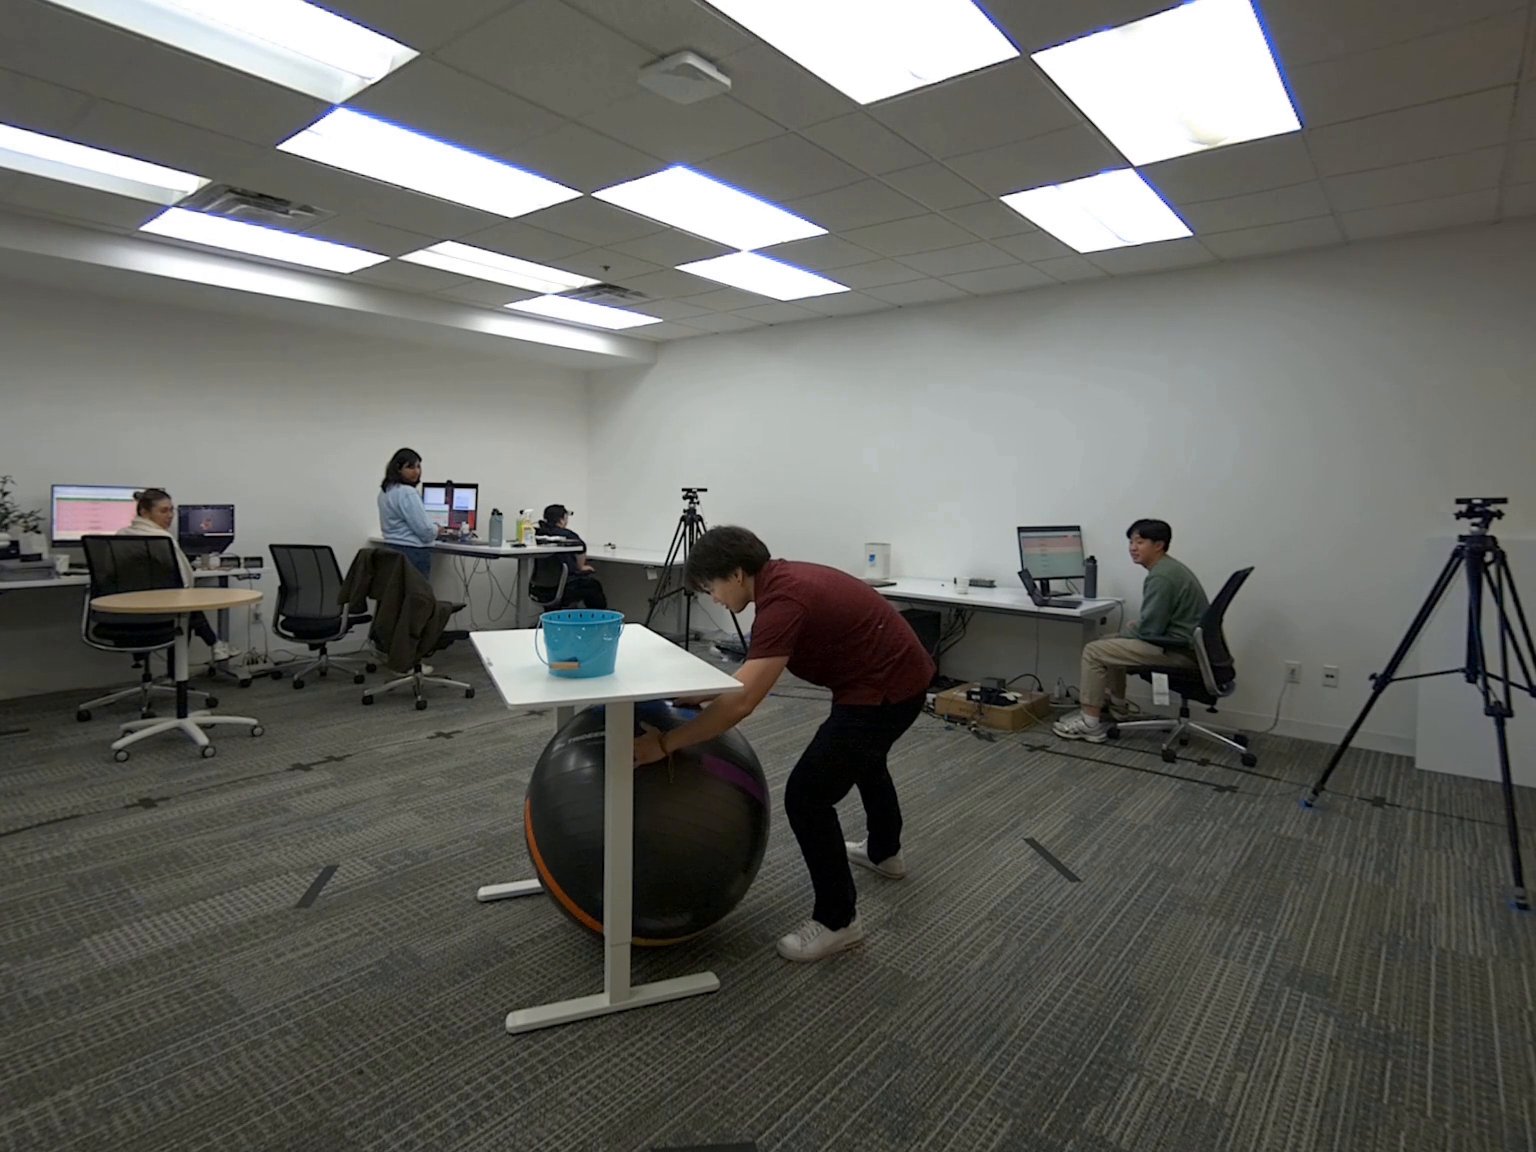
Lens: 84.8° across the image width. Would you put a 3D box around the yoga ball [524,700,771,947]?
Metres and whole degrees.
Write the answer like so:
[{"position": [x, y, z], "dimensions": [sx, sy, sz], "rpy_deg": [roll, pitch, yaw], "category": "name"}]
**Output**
[{"position": [-0.392, 0.749, 2.656], "dimensions": [0.757, 0.756, 0.762], "rpy_deg": [1, 4, -2], "category": "yoga ball"}]
